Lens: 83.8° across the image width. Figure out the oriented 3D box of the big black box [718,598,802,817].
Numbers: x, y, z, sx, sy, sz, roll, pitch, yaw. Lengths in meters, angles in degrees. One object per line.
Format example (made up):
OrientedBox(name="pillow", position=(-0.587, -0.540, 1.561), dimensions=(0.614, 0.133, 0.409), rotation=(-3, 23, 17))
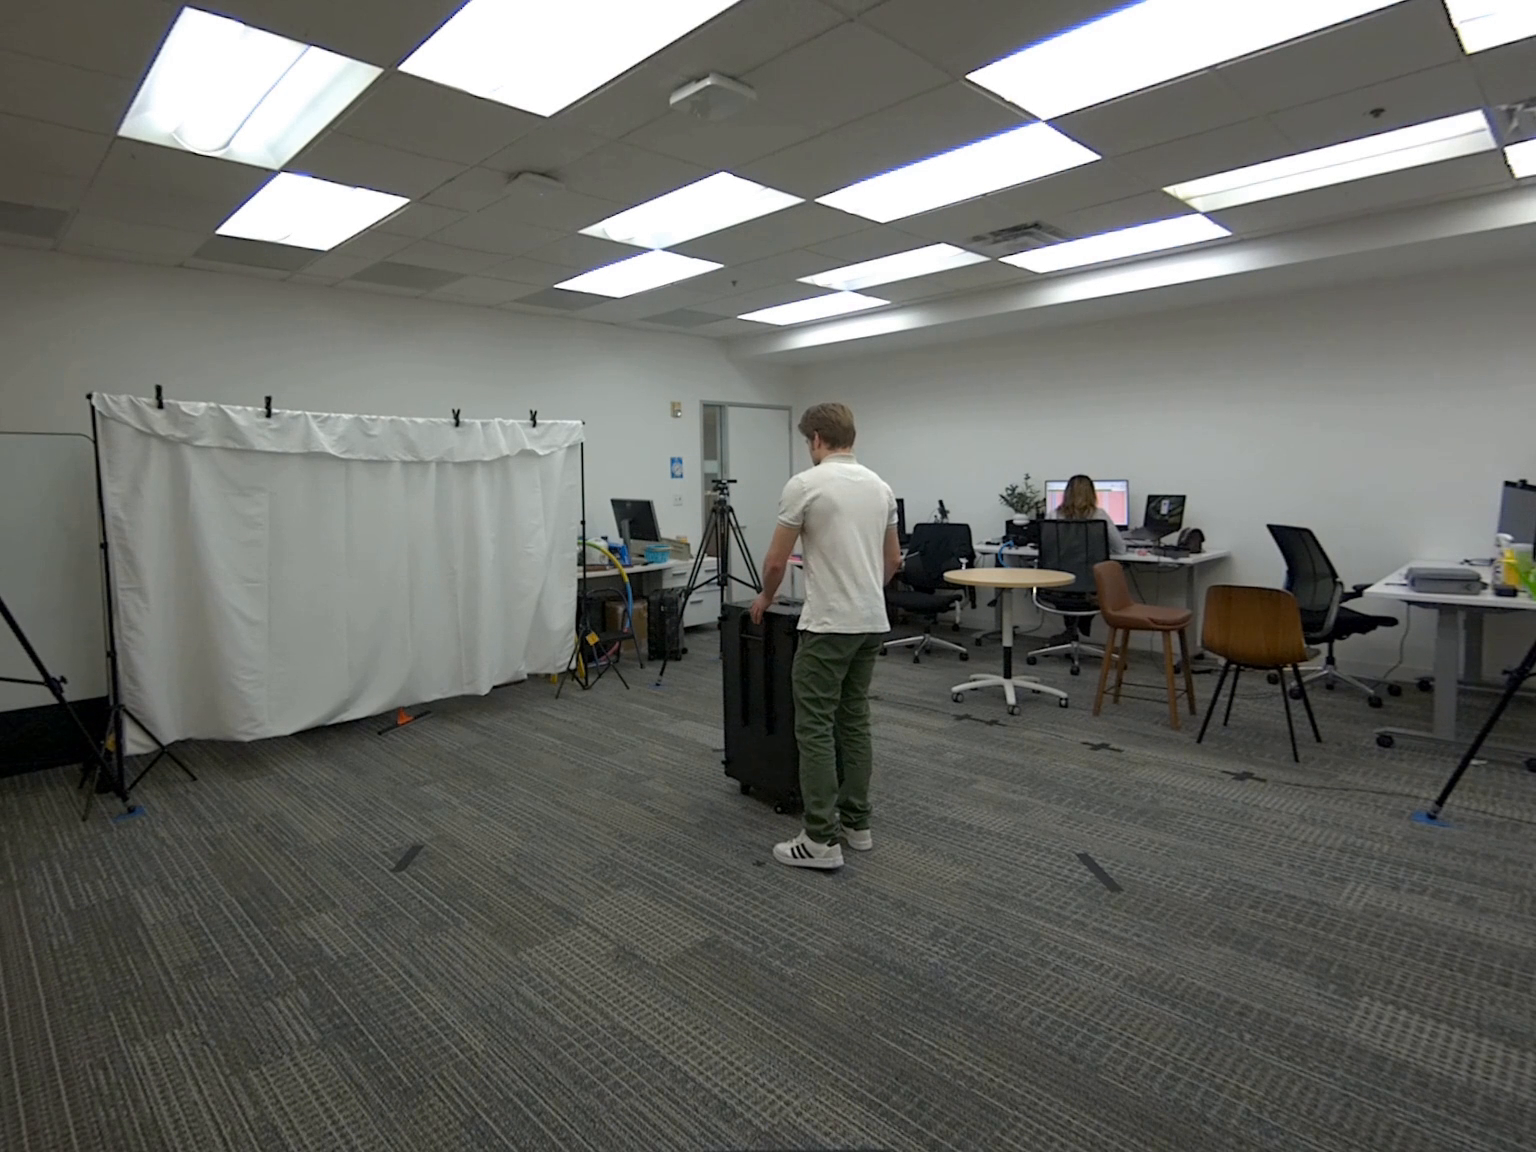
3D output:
OrientedBox(name="big black box", position=(0.089, 0.559, 3.737), dimensions=(0.375, 0.866, 0.539), rotation=(-3, 4, -38))
